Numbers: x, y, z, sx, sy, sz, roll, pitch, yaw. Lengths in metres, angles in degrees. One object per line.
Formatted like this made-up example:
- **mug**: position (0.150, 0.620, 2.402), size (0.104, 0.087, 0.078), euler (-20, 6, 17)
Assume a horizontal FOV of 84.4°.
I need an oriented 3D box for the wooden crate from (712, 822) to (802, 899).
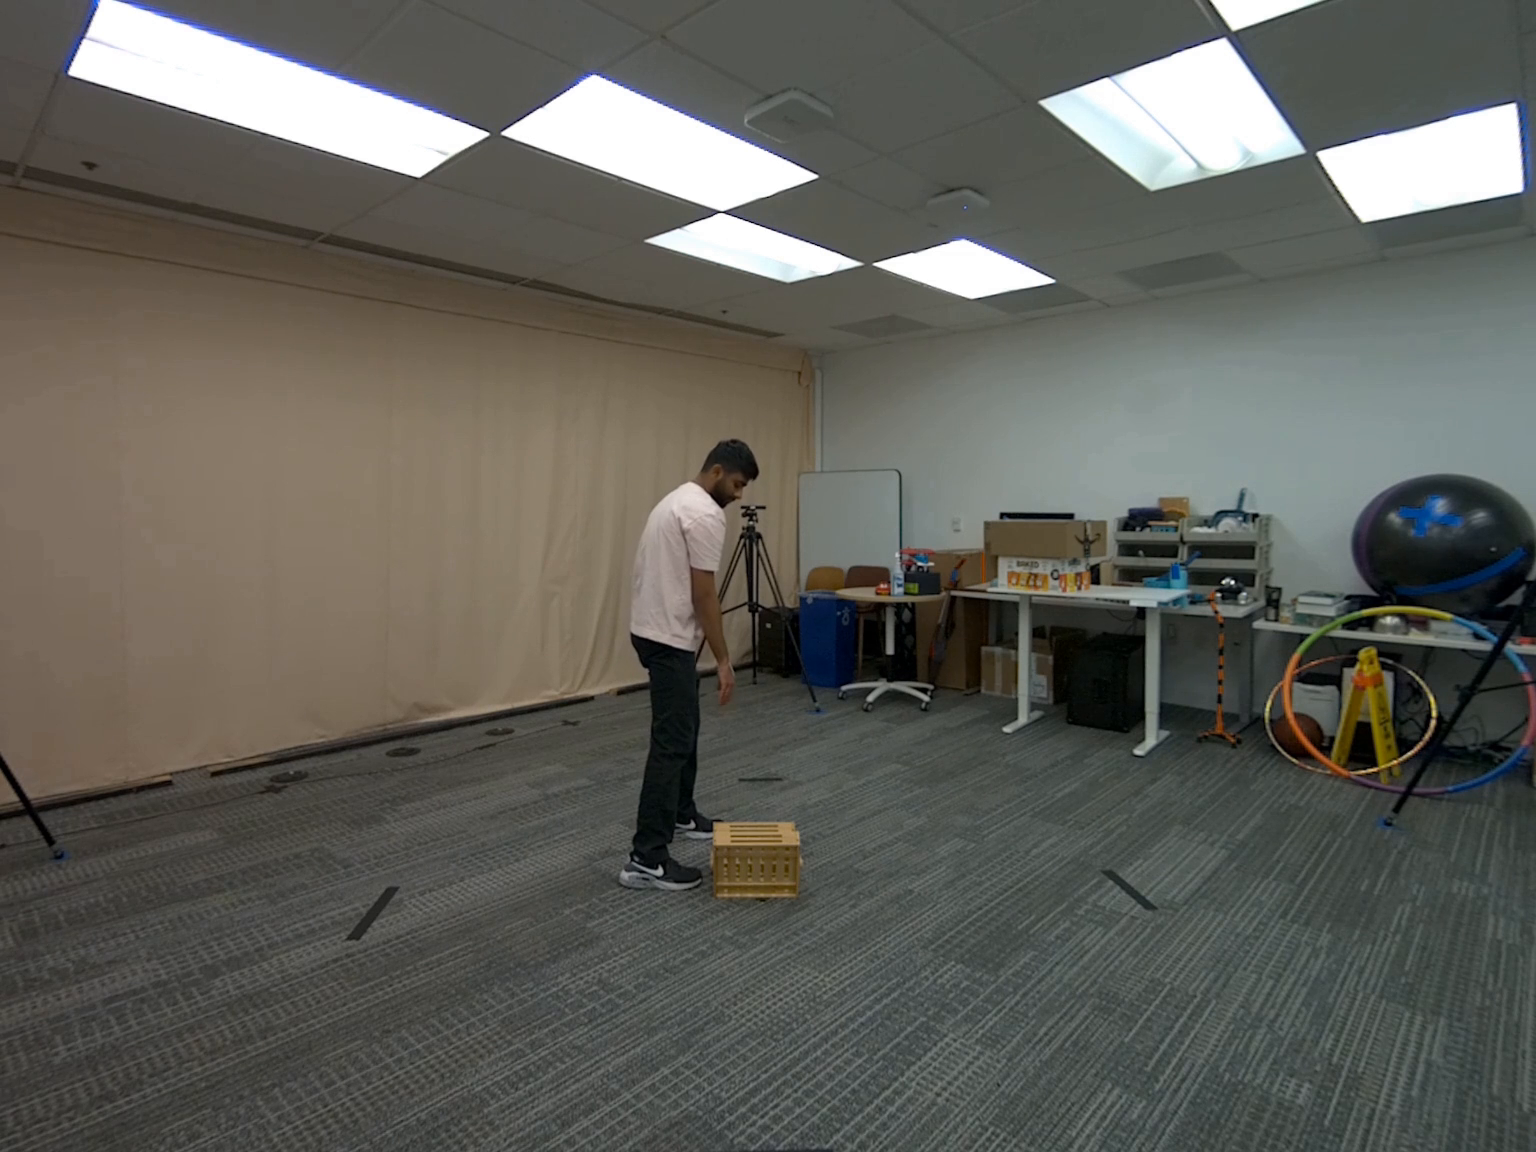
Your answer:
- **wooden crate**: position (-0.047, 1.003, 3.078), size (0.324, 0.298, 0.277), euler (0, 20, -1)
